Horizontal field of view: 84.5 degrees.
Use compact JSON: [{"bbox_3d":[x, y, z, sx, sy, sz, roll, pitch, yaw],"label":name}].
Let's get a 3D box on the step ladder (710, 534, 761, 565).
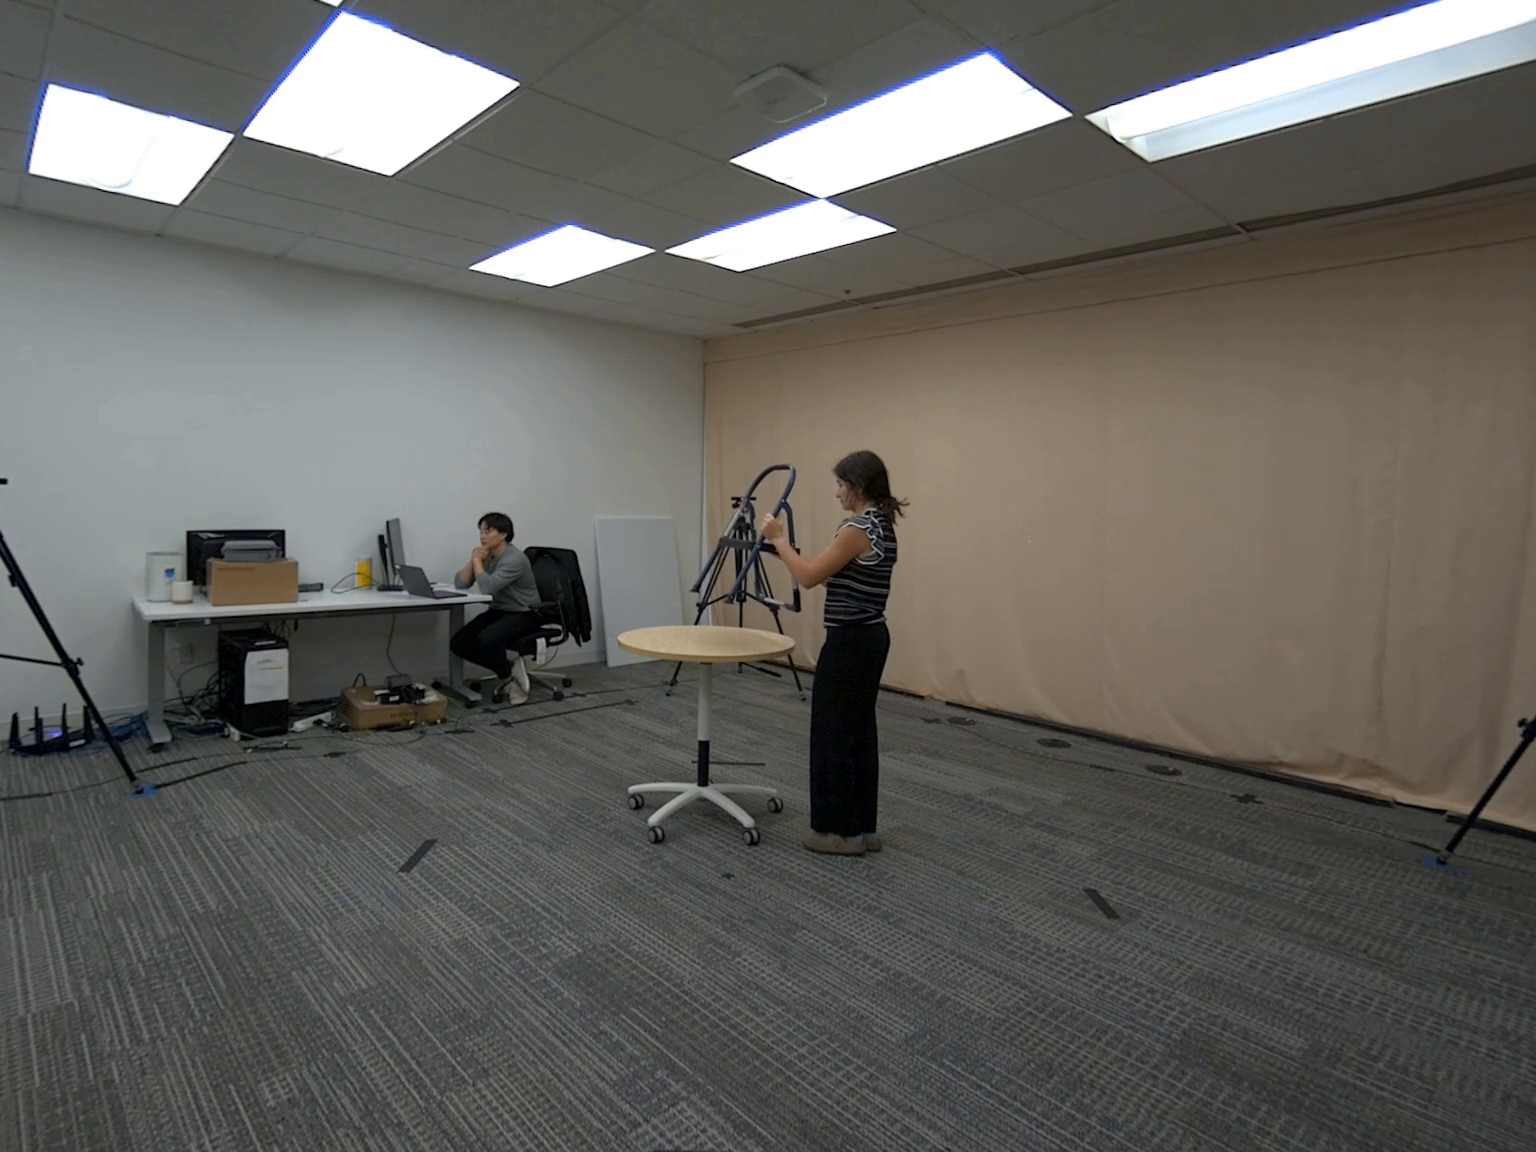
[{"bbox_3d":[-0.061,-0.184,3.569,0.342,0.606,0.439,9,1,-24],"label":"step ladder"}]
